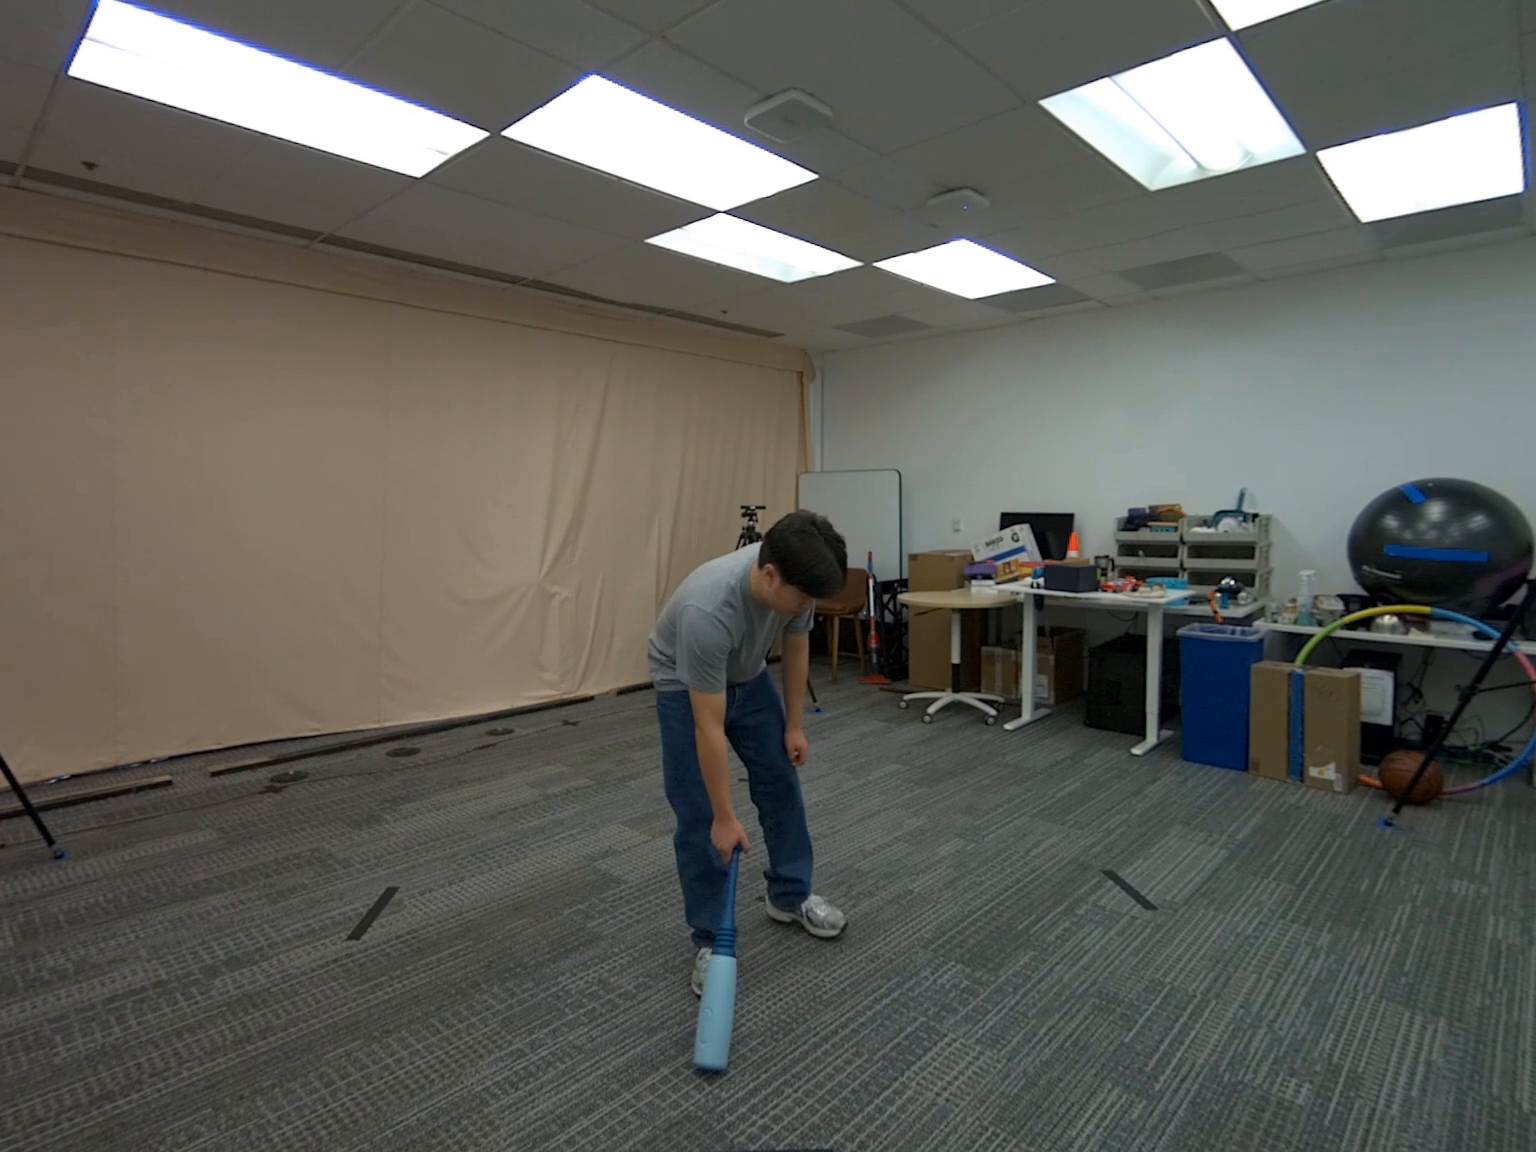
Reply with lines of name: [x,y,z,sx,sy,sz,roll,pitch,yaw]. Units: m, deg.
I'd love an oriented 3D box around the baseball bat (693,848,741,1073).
baseball bat: [-0.103,0.971,2.204,0.089,0.549,0.088,8,-30,3]
